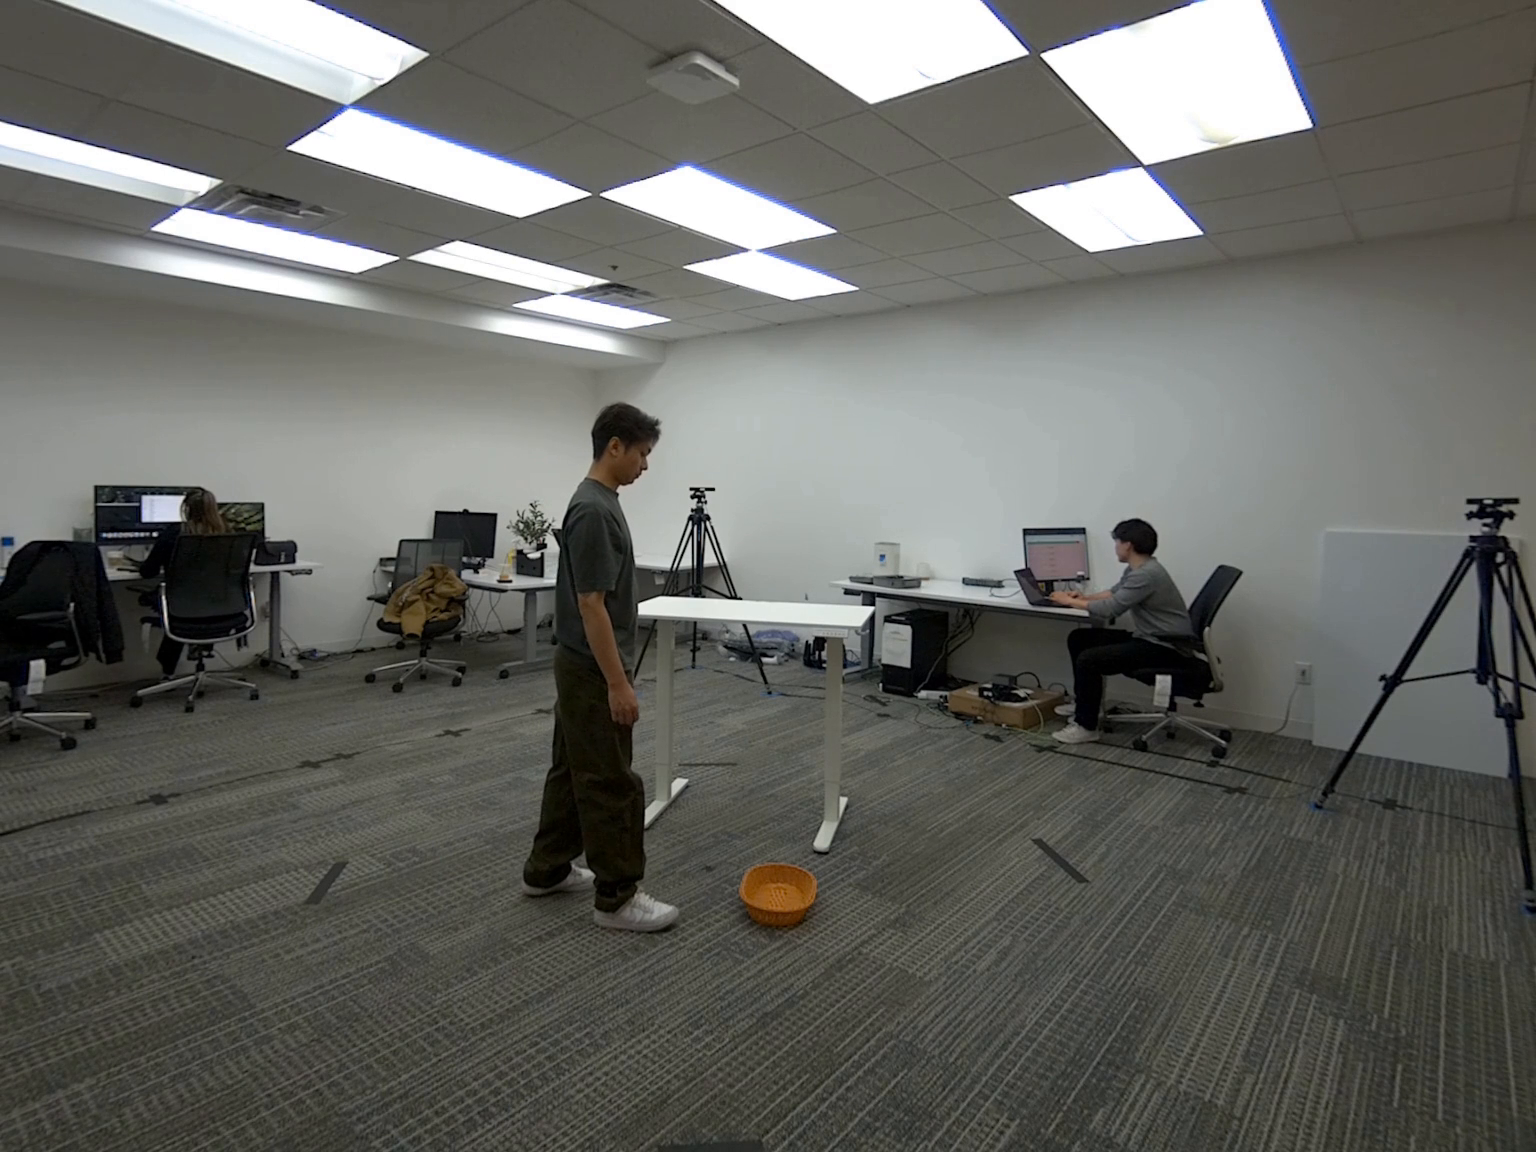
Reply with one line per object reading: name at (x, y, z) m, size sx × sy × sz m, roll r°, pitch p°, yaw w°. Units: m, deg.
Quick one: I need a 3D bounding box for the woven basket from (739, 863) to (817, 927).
woven basket at (0.027, 1.063, 2.835) m, size 0.256 × 0.073 × 0.347 m, roll 3°, pitch 6°, yaw 11°
